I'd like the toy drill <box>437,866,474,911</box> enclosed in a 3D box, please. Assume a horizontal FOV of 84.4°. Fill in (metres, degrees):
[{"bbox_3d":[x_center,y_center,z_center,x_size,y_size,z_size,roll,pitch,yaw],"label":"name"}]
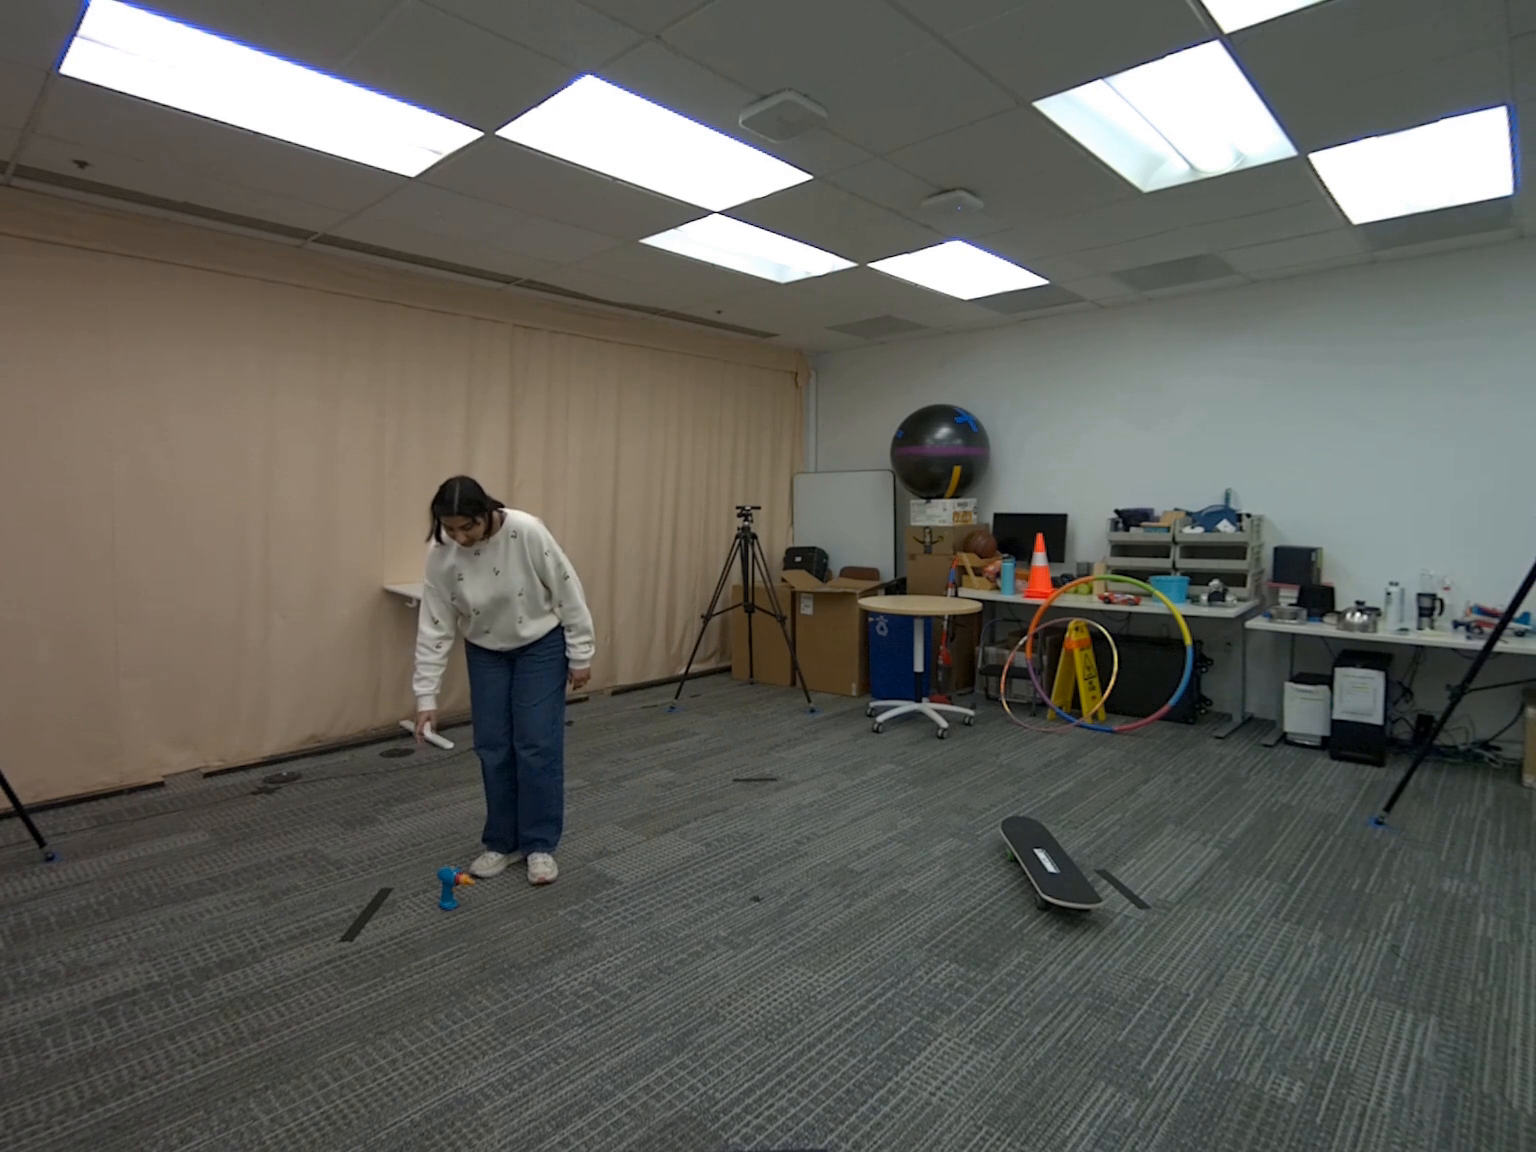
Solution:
[{"bbox_3d":[-1.082,1.080,2.925,0.174,0.146,0.060,4,4,25],"label":"toy drill"}]
